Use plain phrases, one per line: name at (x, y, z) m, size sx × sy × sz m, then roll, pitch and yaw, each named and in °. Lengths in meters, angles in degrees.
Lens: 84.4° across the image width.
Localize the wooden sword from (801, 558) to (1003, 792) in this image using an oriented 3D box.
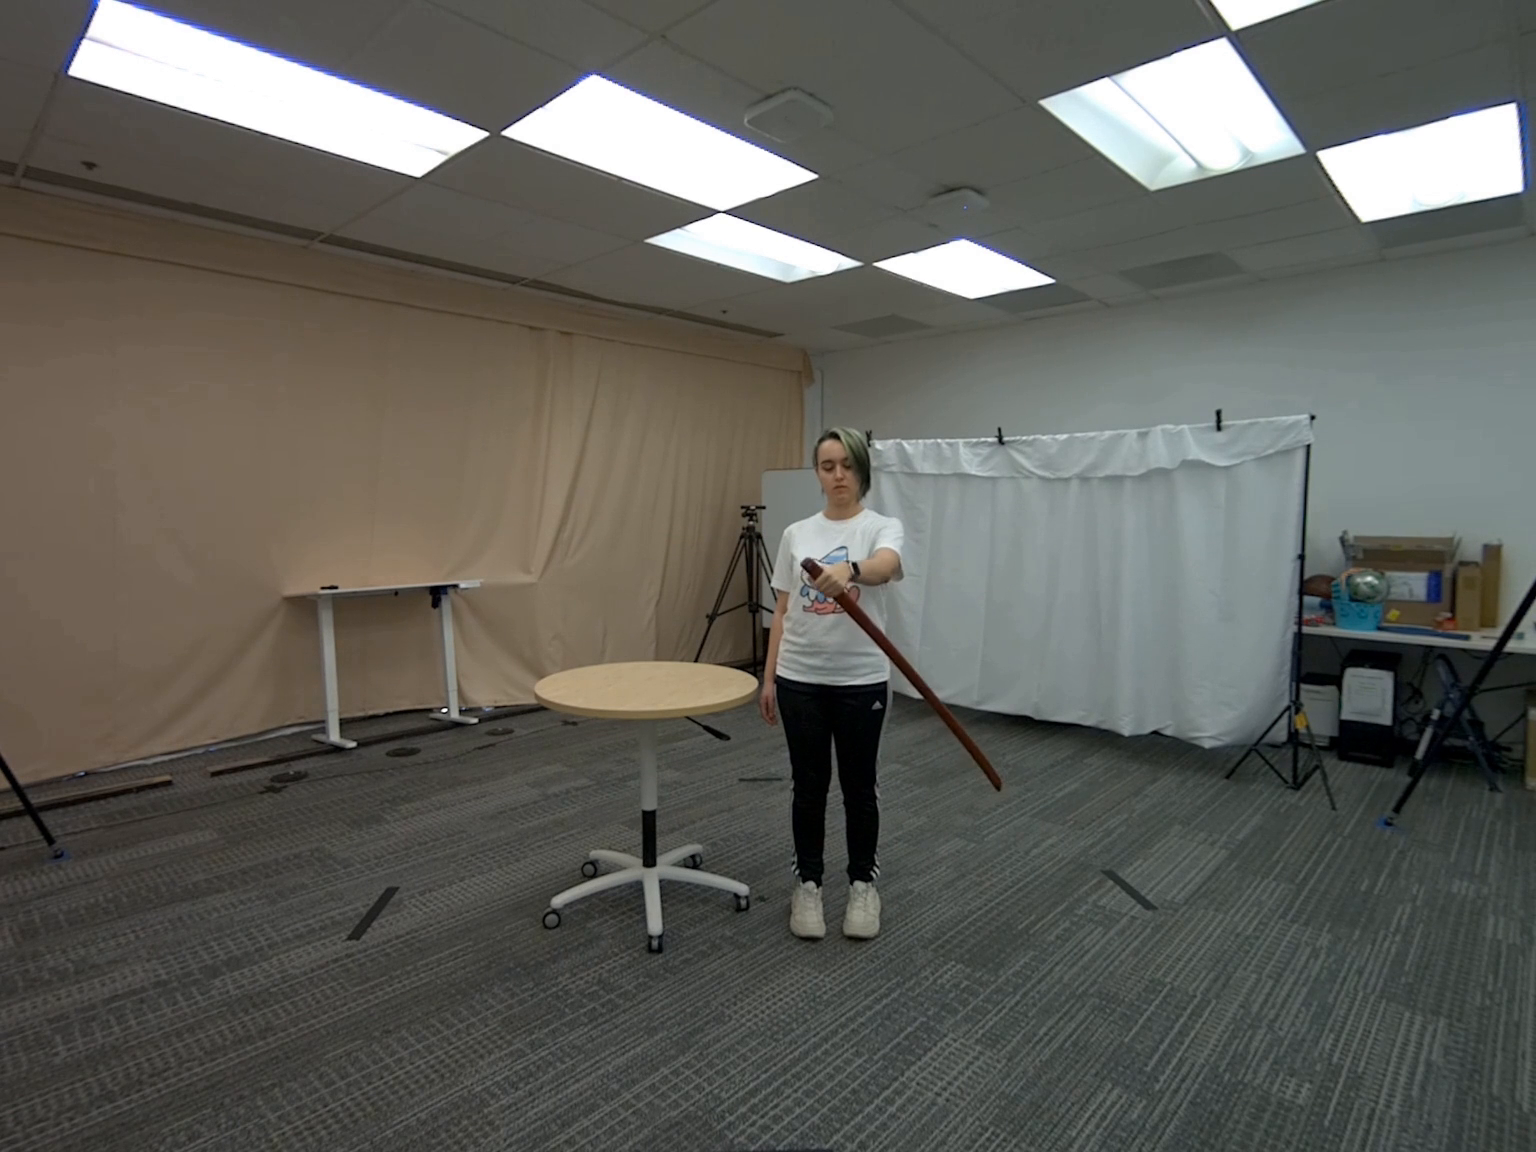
wooden sword at (0.419, 0.311, 2.398) m, size 0.025 × 1.000 × 0.051 m, roll -13°, pitch 36°, yaw 52°
